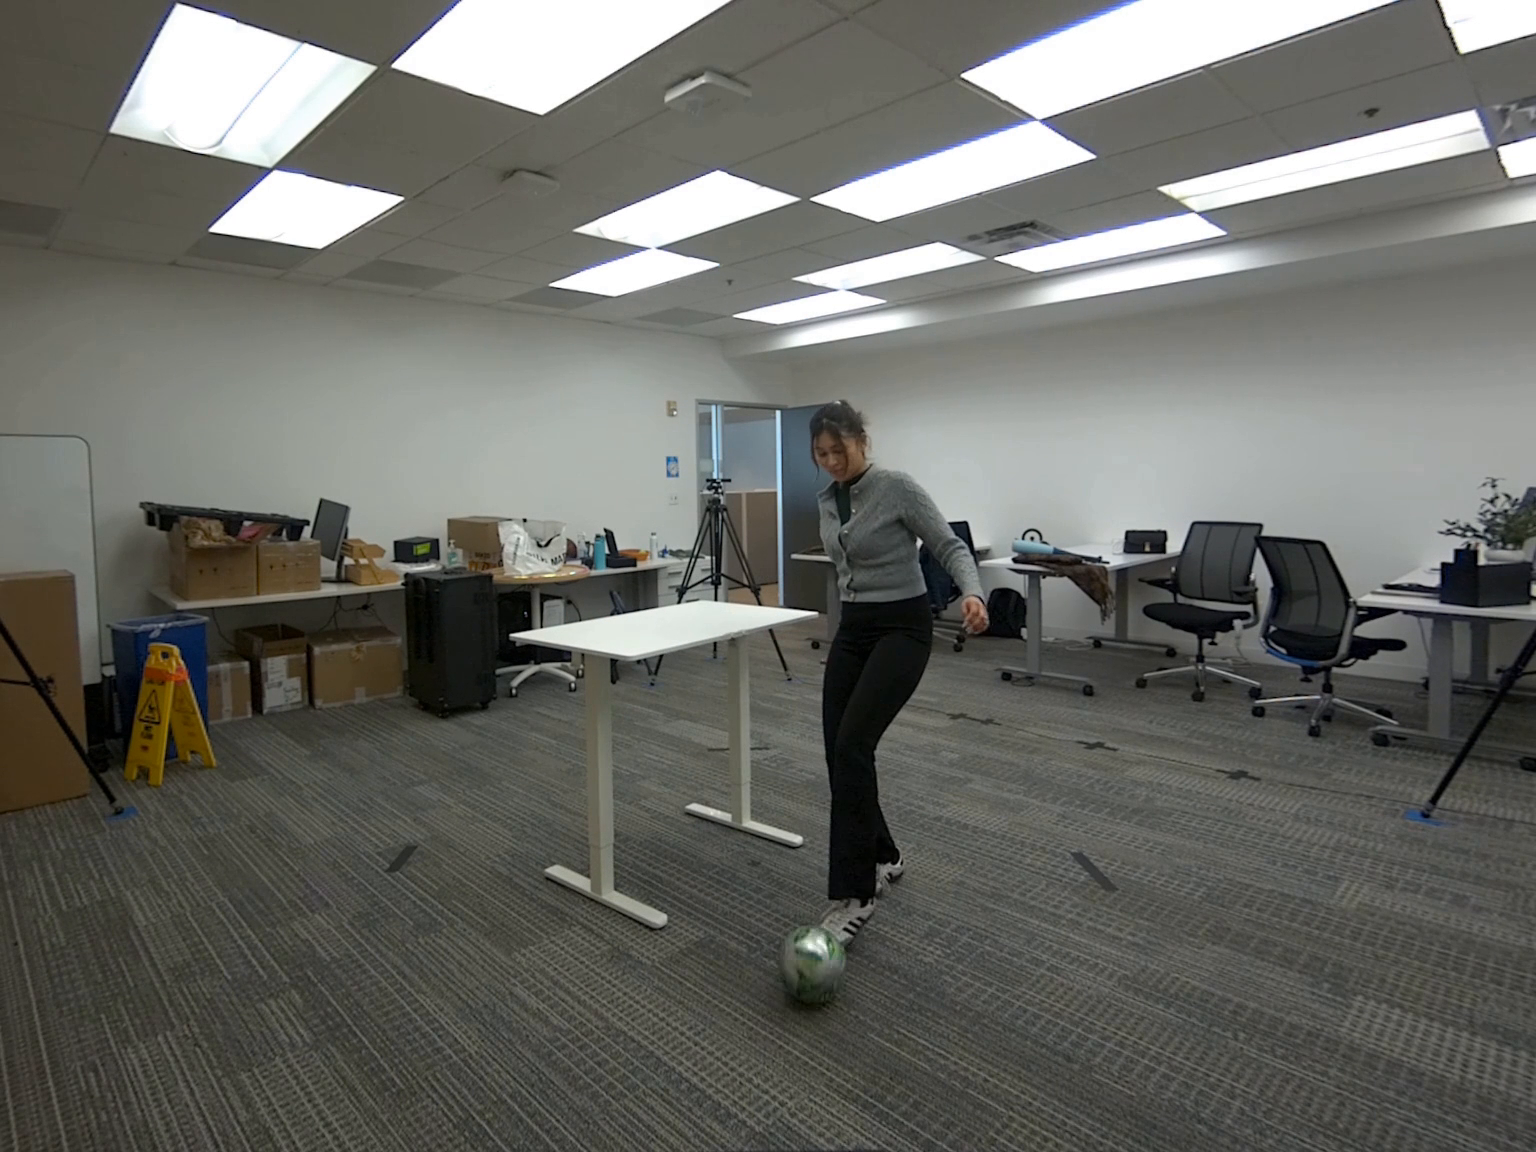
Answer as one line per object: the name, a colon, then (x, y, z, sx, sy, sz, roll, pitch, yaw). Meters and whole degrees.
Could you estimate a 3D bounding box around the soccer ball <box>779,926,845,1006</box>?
soccer ball: (0.122, 1.043, 2.309, 0.187, 0.187, 0.188, -1, 5, -2)
